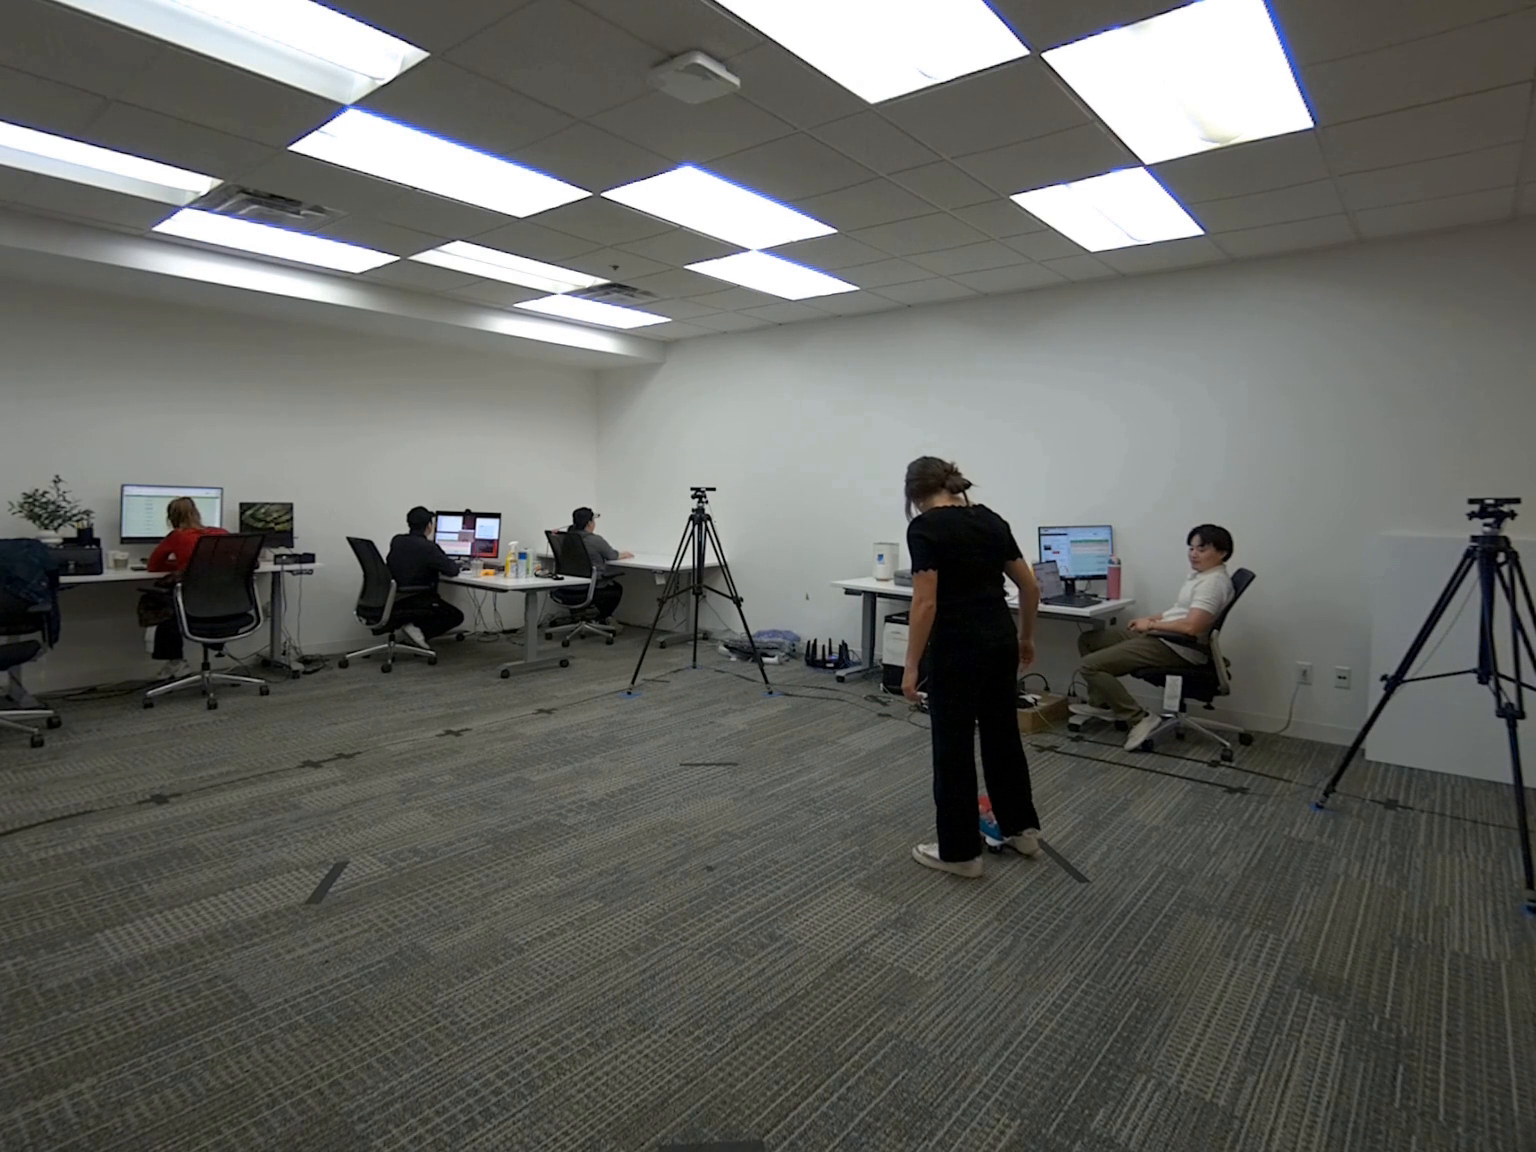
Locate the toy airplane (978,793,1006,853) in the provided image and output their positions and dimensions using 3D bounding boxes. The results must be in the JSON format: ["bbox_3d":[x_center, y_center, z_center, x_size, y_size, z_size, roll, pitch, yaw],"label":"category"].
[{"bbox_3d":[0.829,0.978,3.388,0.266,0.155,0.246,1,9,27],"label":"toy airplane"}]
